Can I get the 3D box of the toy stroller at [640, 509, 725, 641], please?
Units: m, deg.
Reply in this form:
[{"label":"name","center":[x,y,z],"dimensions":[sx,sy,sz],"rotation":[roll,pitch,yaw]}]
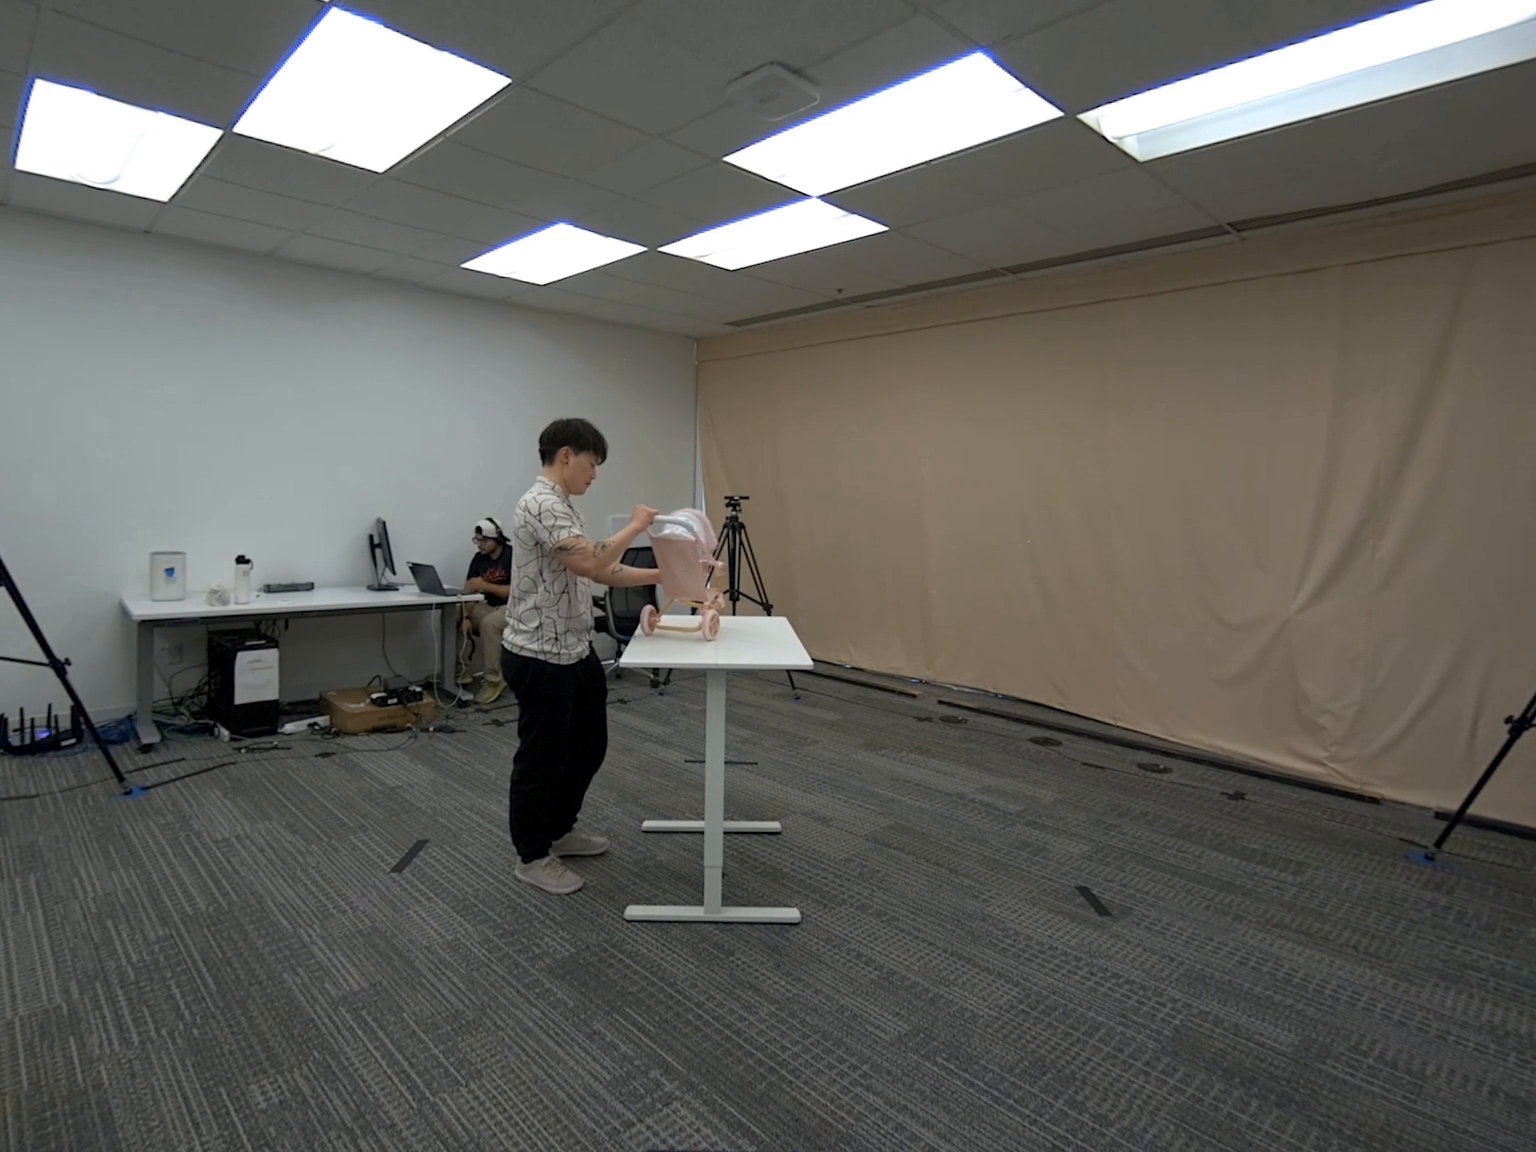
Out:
[{"label":"toy stroller","center":[-0.299,-0.008,3.087],"dimensions":[0.287,0.528,0.339],"rotation":[4,19,25]}]
